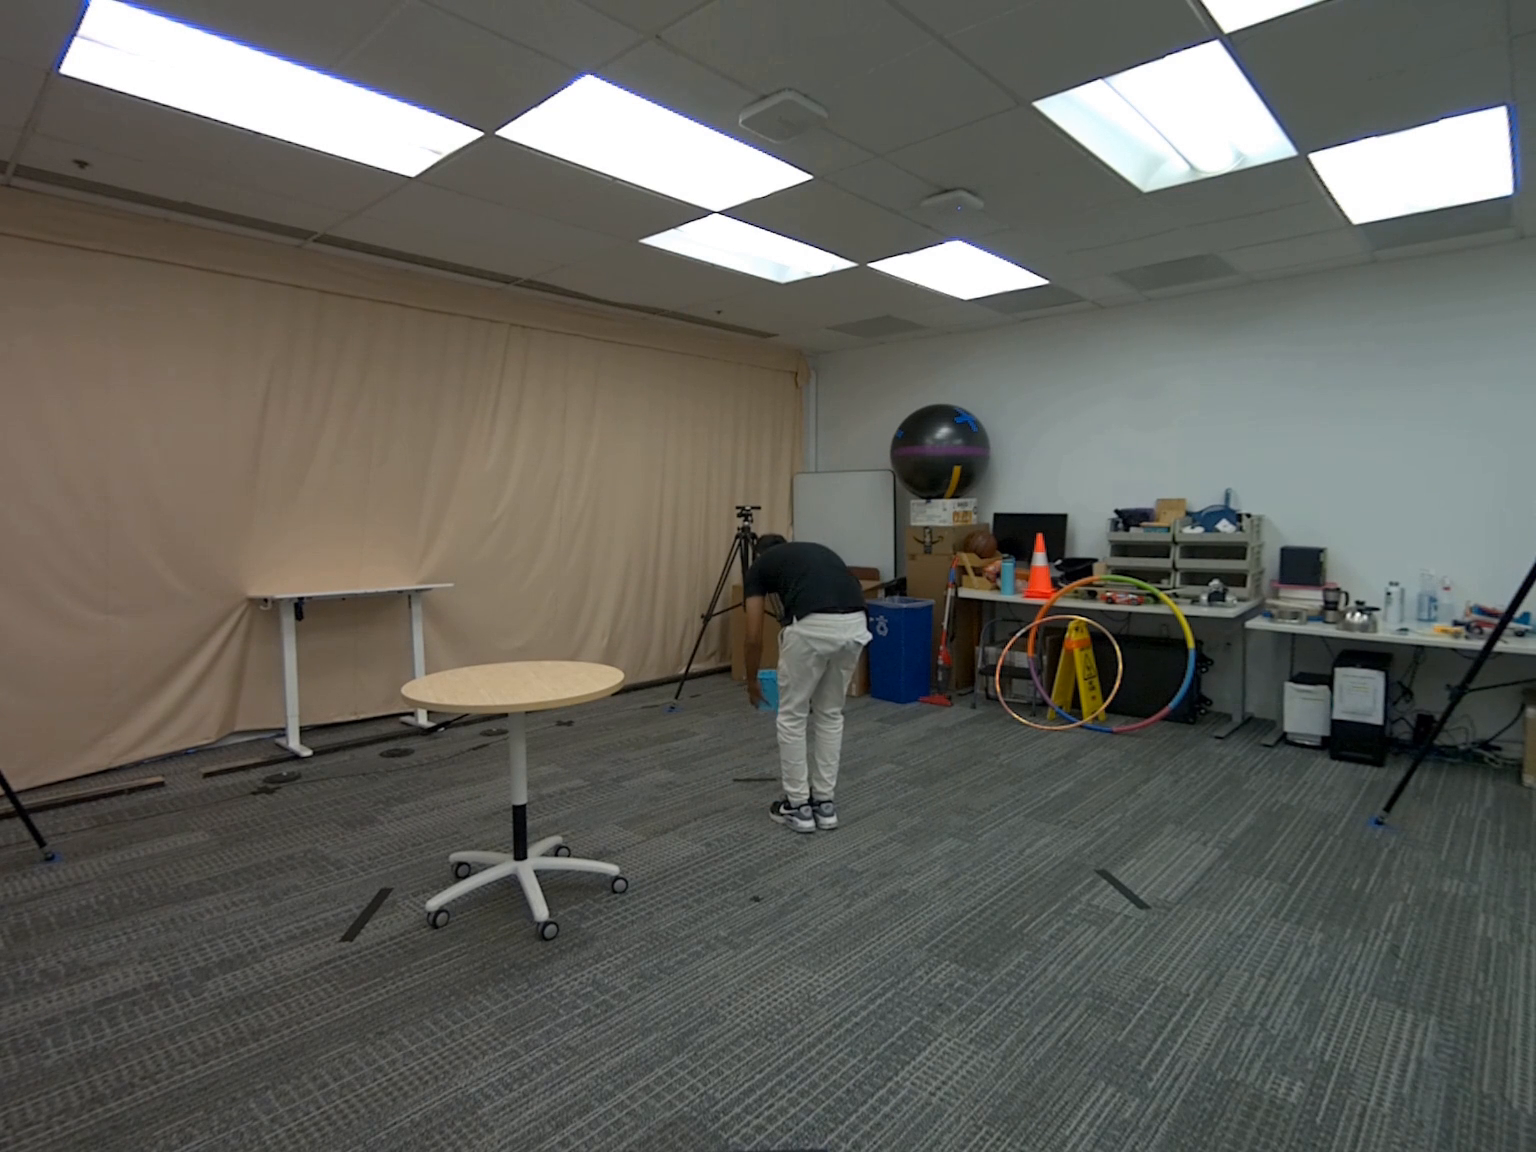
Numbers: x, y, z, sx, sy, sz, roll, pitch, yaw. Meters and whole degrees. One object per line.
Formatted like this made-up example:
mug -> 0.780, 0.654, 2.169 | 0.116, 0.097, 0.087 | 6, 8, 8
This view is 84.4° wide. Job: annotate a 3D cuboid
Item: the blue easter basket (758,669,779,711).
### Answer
blue easter basket -> 0.018, 0.547, 4.062 | 0.243, 0.155, 0.244 | -2, 3, -2
